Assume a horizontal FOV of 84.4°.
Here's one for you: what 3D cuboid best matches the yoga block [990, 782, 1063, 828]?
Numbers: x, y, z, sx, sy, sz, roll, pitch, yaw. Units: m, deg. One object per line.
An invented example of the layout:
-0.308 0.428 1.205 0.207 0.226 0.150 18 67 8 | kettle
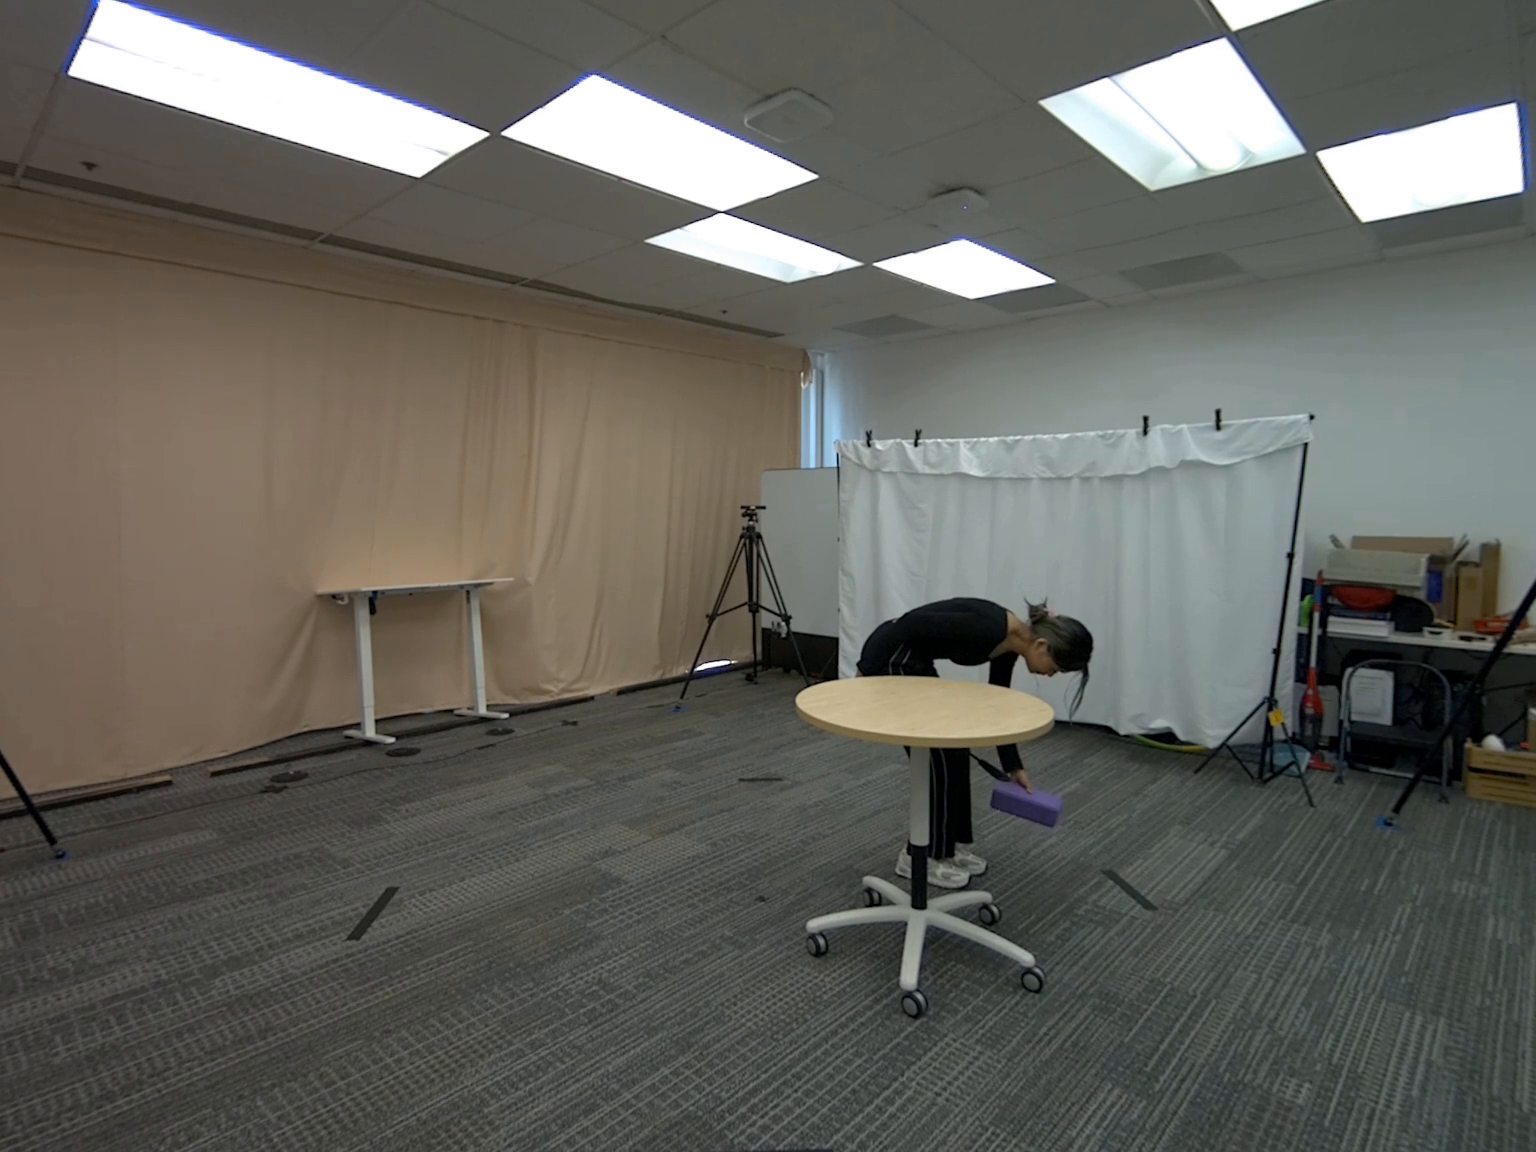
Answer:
0.965 0.838 3.103 0.236 0.076 0.145 12 9 25 | yoga block
